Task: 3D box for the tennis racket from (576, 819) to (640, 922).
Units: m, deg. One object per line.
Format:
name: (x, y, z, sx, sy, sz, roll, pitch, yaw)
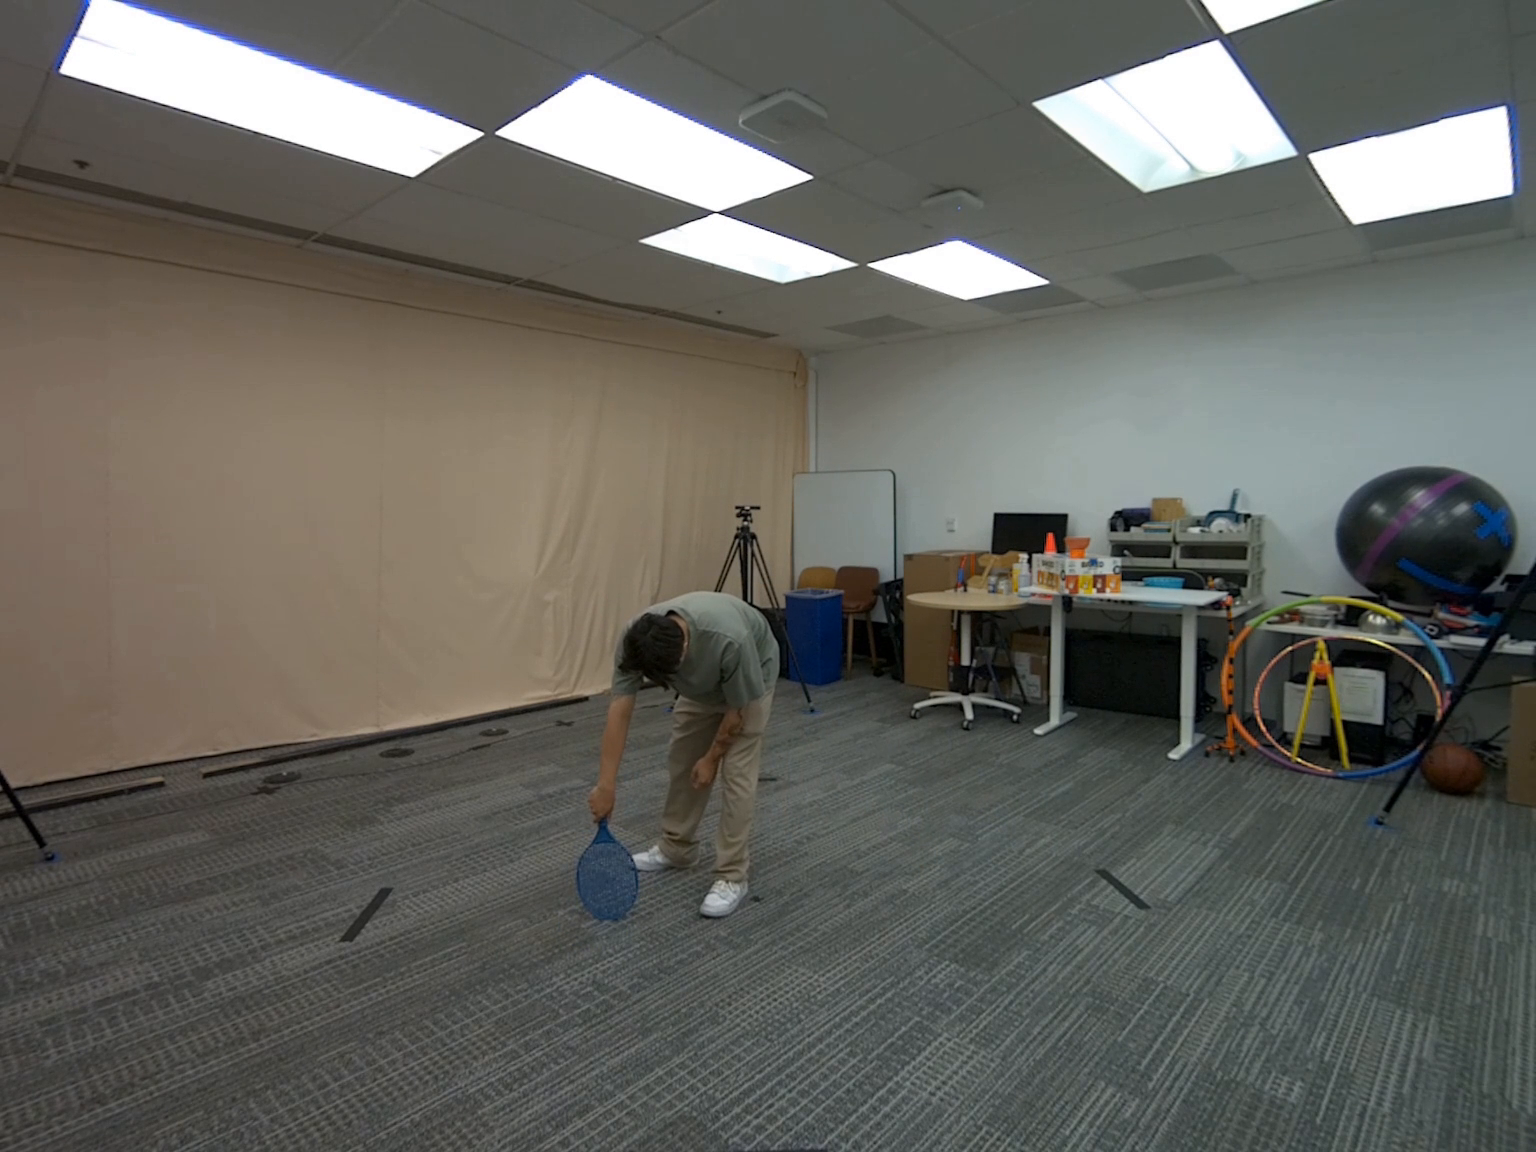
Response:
tennis racket: (-0.552, 0.947, 2.854, 0.215, 0.434, 0.031, -6, -4, 6)
